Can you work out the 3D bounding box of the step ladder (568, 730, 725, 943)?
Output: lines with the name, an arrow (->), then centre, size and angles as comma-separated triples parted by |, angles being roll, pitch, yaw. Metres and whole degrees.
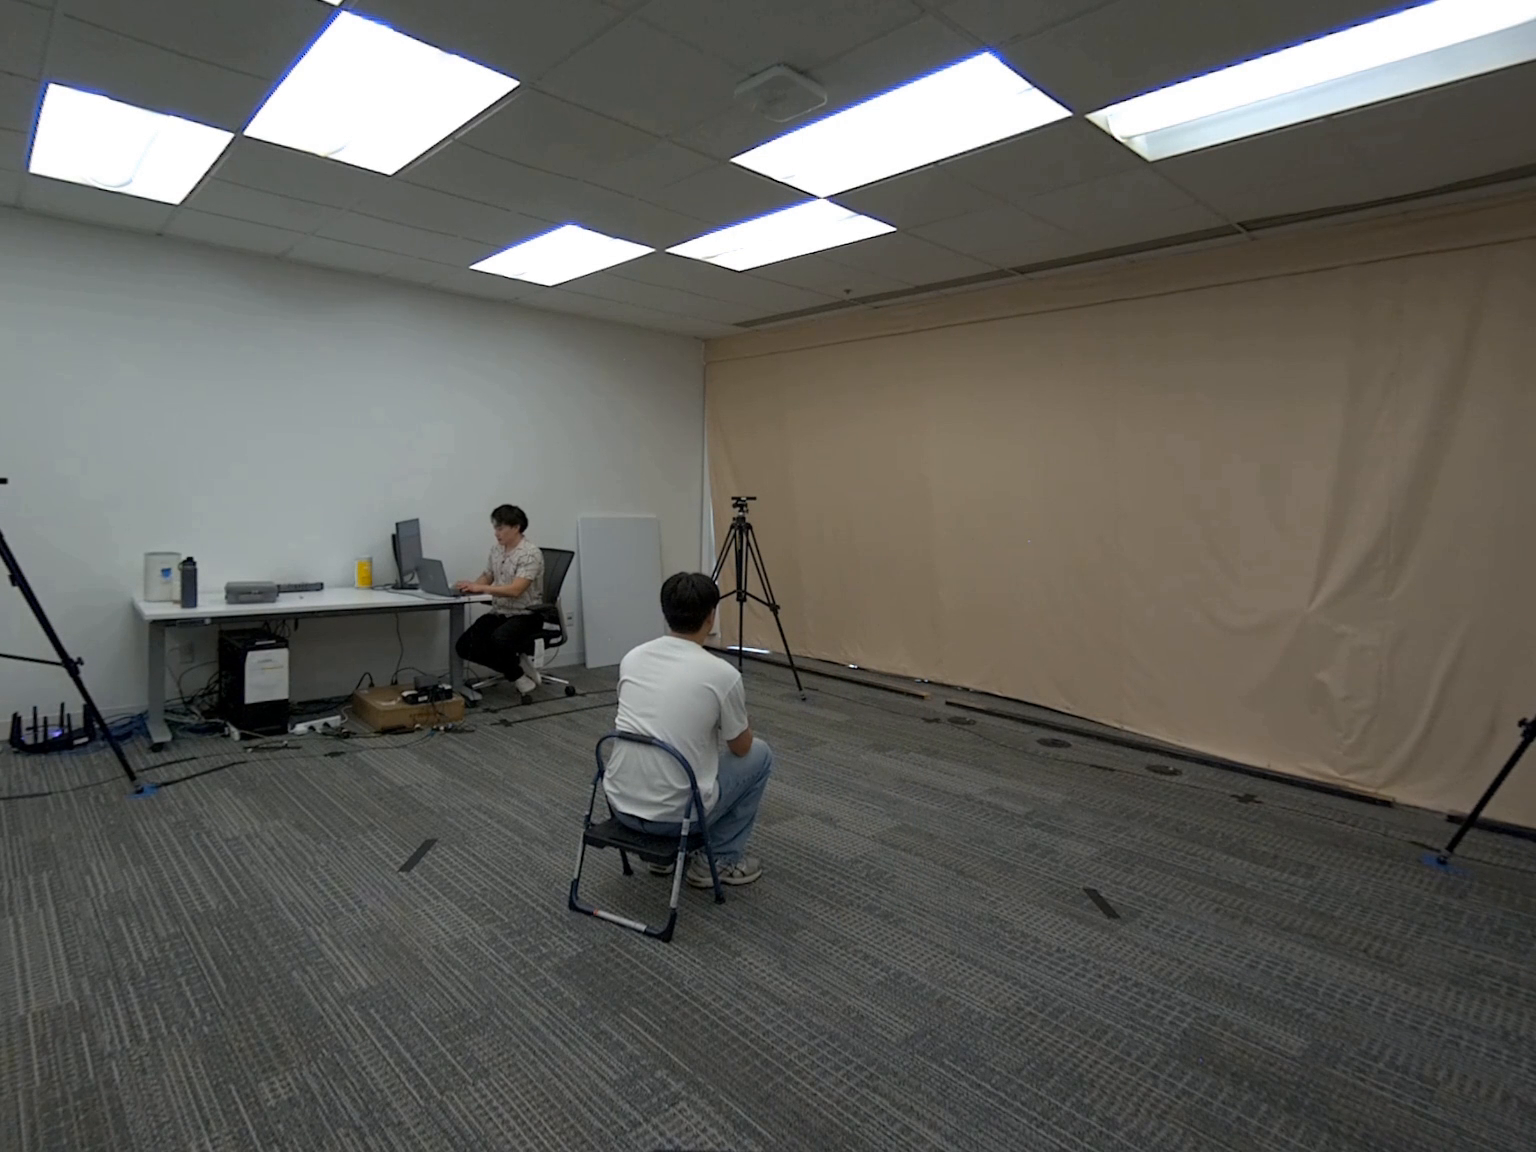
step ladder -> -0.418, 0.825, 2.850 | 0.440, 0.604, 0.343 | 3, 4, 29
